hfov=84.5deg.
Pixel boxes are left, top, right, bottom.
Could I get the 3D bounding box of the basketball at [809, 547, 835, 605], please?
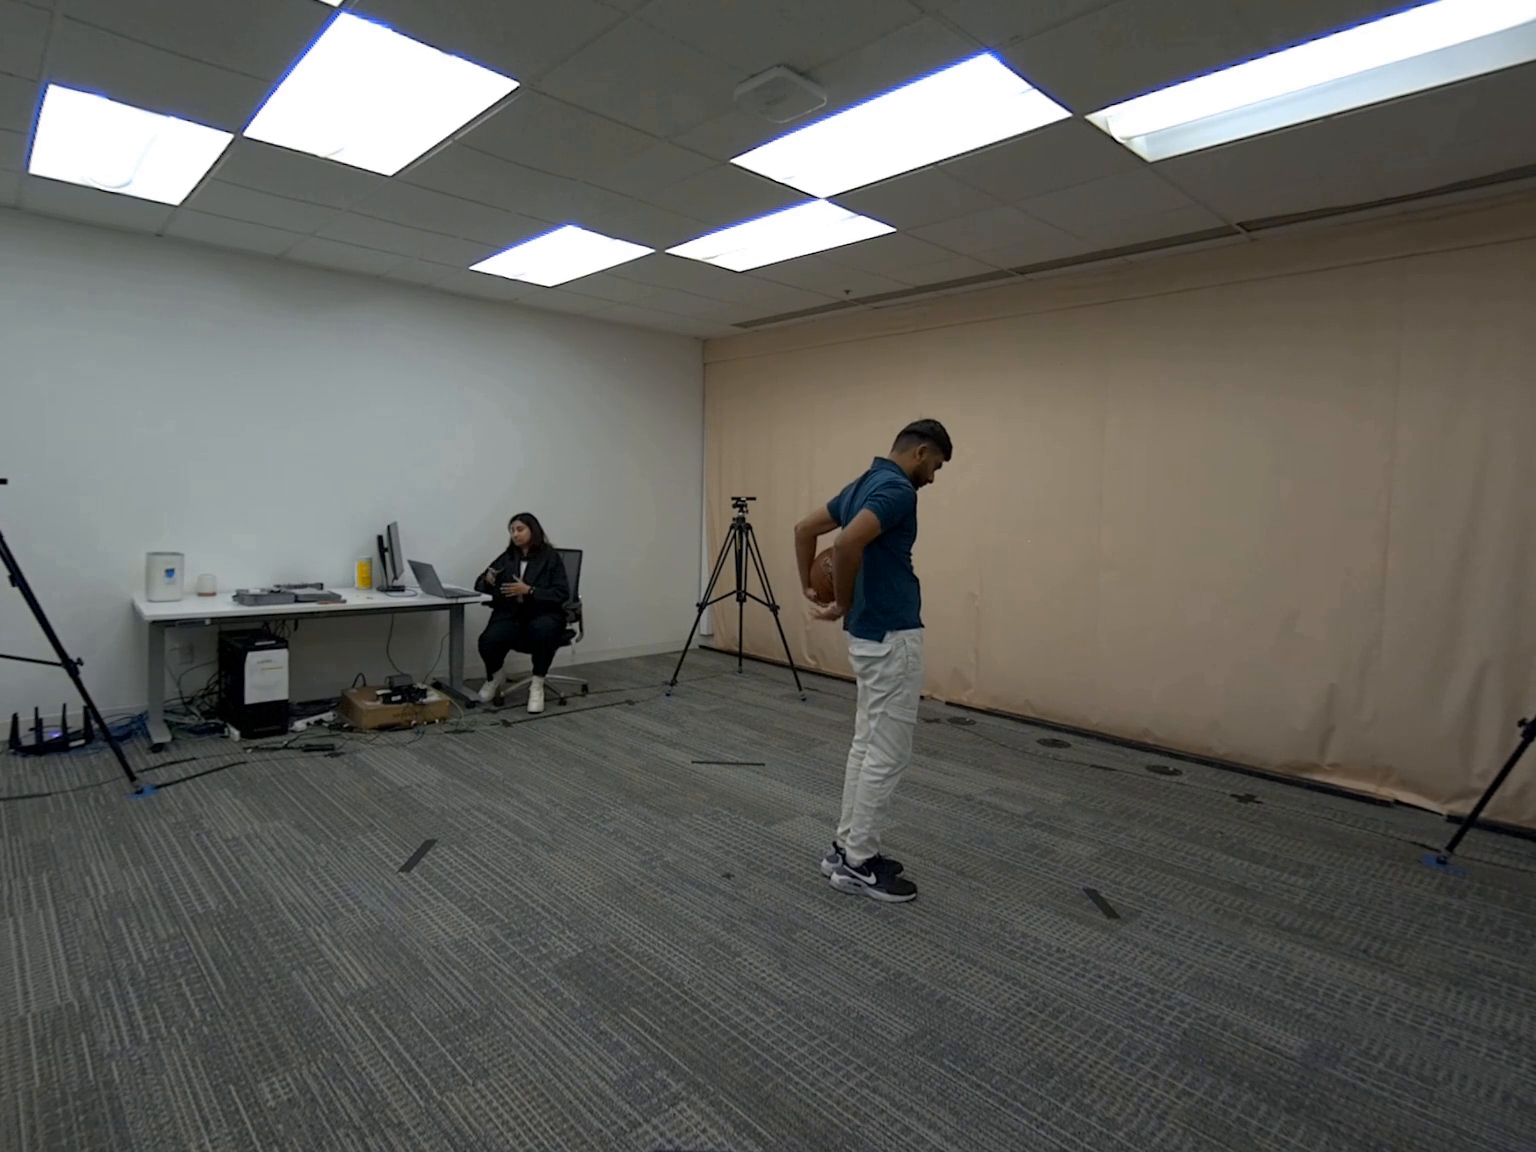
[{"bbox_3d":[0.282,0.006,3.242,0.236,0.235,0.237,1,4,-1],"label":"basketball"}]
